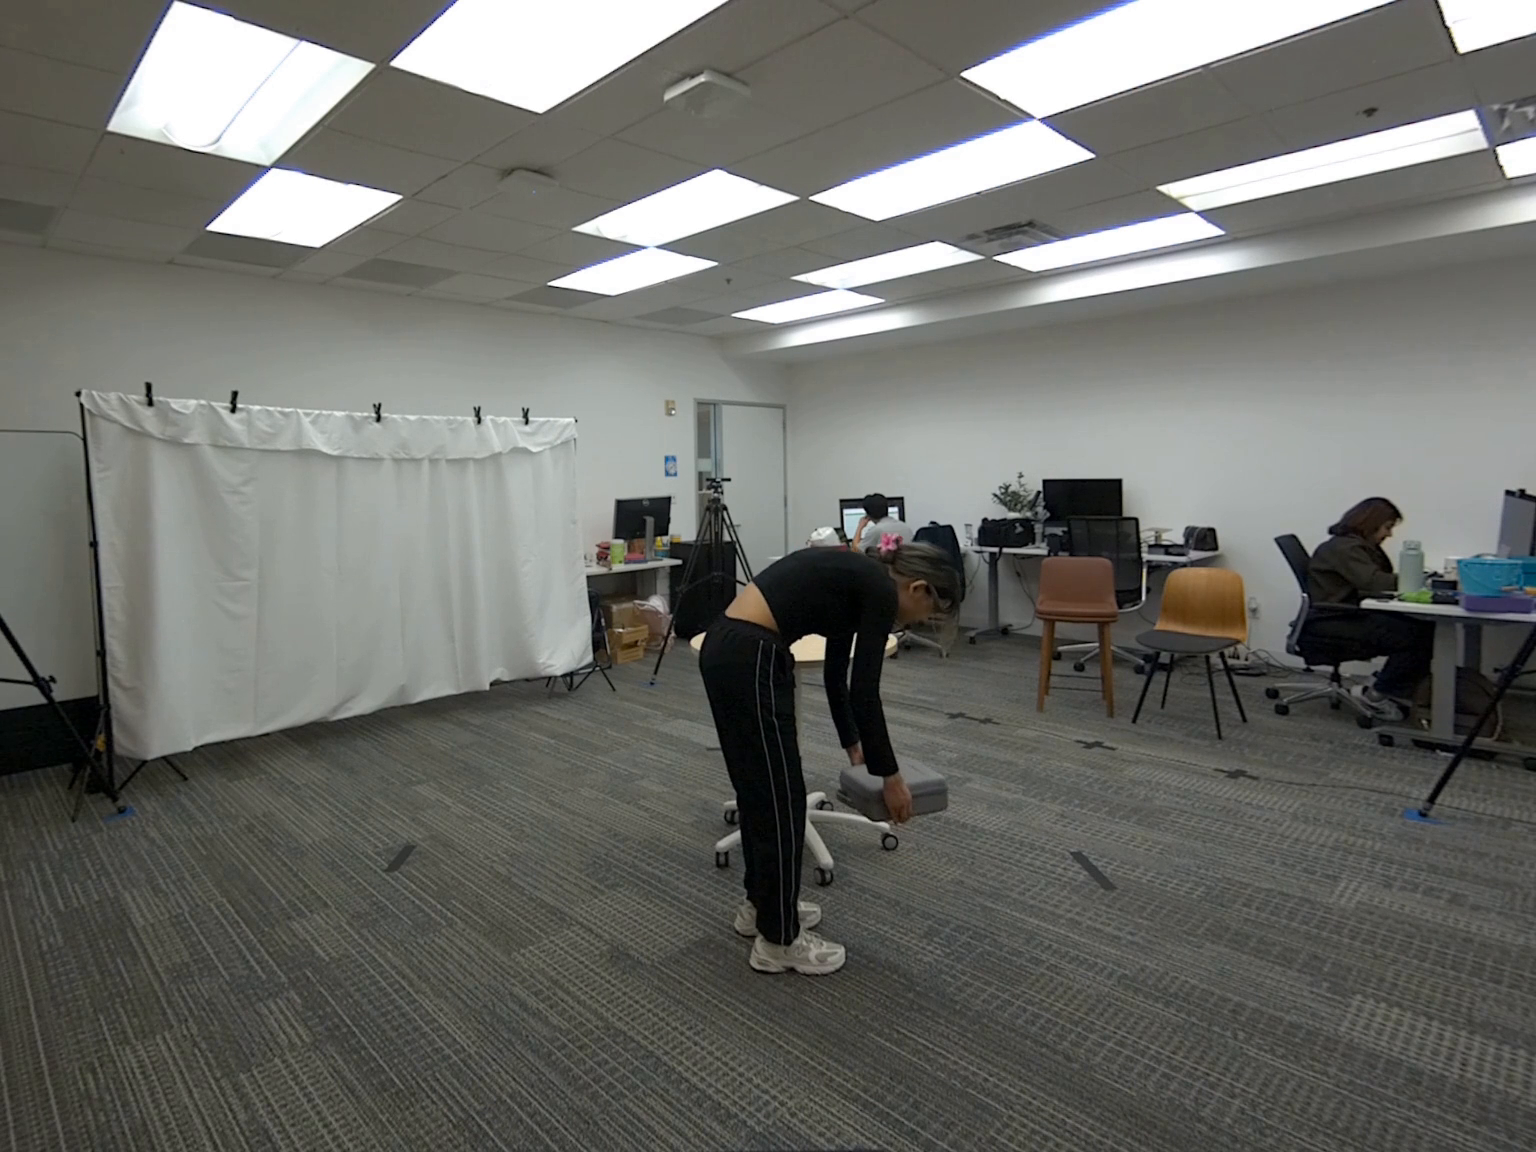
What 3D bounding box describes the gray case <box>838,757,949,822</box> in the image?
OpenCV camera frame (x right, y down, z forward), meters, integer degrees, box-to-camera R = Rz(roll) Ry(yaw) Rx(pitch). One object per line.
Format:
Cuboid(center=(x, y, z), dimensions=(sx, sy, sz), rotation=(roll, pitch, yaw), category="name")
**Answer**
Cuboid(center=(0.364, 0.637, 2.528), dimensions=(0.257, 0.103, 0.262), rotation=(-7, 8, -16), category="gray case")
